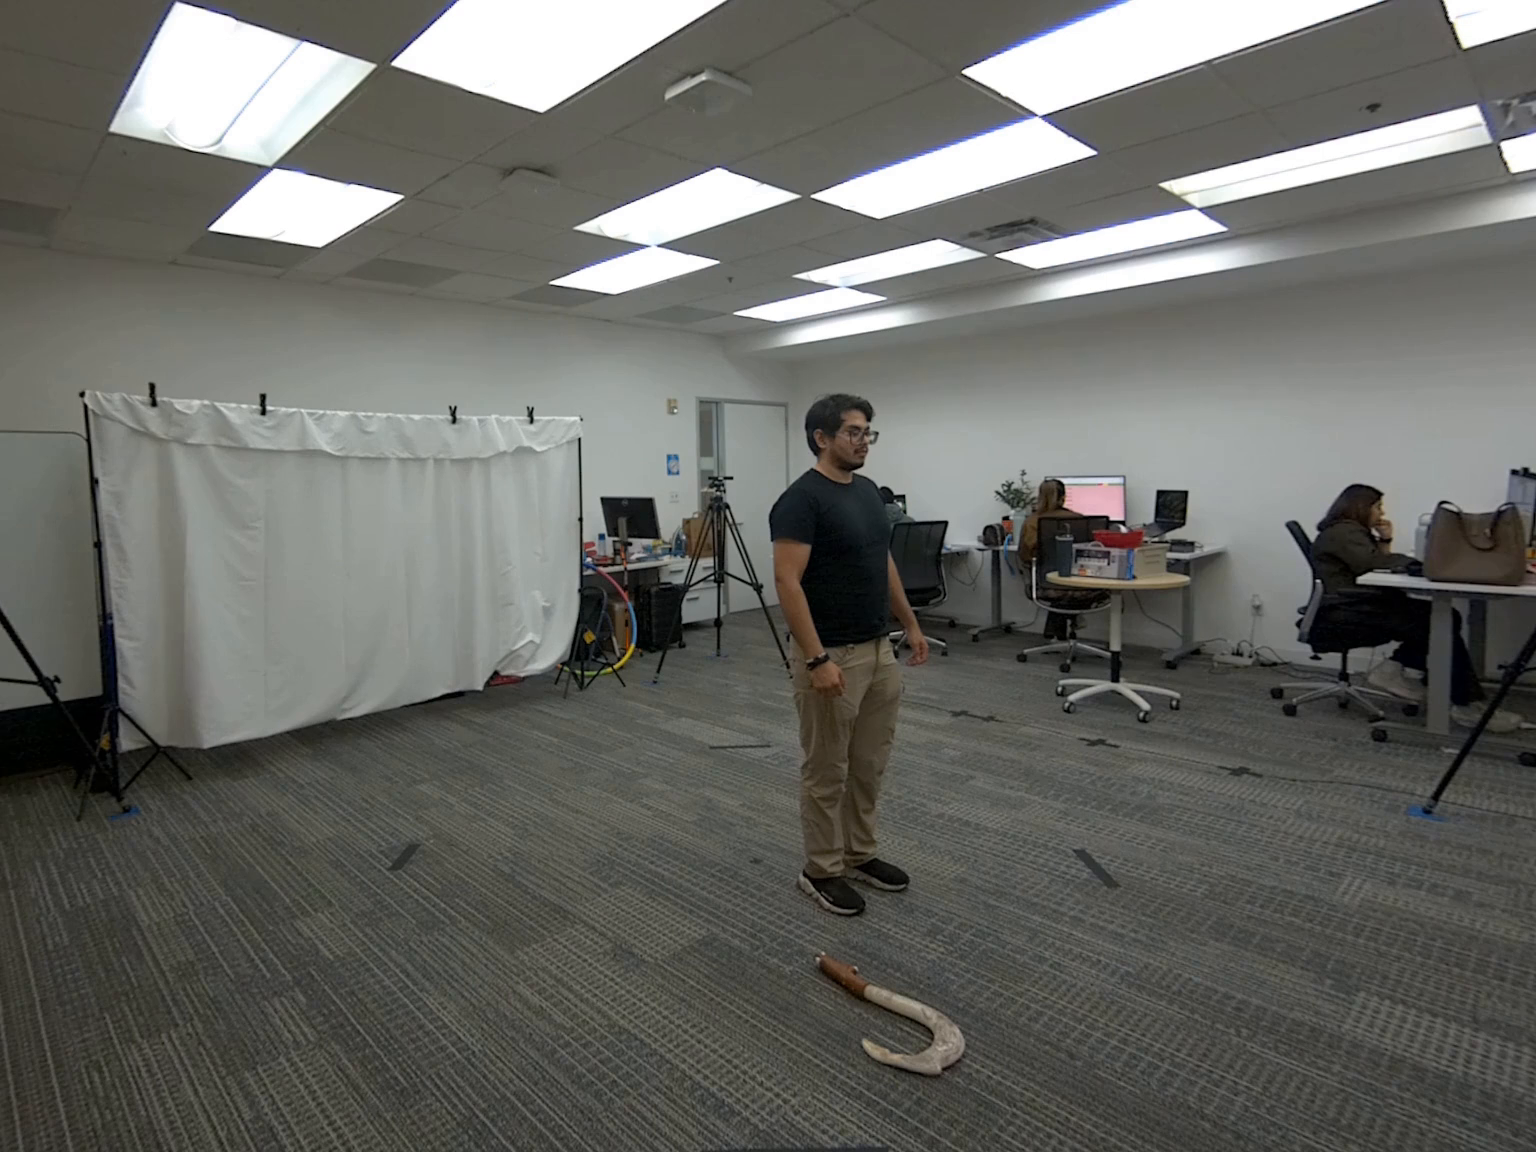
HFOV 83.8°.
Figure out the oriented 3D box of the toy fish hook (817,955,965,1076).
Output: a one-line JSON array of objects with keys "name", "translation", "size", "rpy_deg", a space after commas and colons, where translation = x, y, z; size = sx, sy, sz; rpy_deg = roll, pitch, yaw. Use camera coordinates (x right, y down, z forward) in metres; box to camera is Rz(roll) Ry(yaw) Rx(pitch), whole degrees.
[{"name": "toy fish hook", "translation": [0.269, 1.123, 2.199], "size": [0.219, 0.048, 0.522], "rpy_deg": [-6, 8, -38]}]
